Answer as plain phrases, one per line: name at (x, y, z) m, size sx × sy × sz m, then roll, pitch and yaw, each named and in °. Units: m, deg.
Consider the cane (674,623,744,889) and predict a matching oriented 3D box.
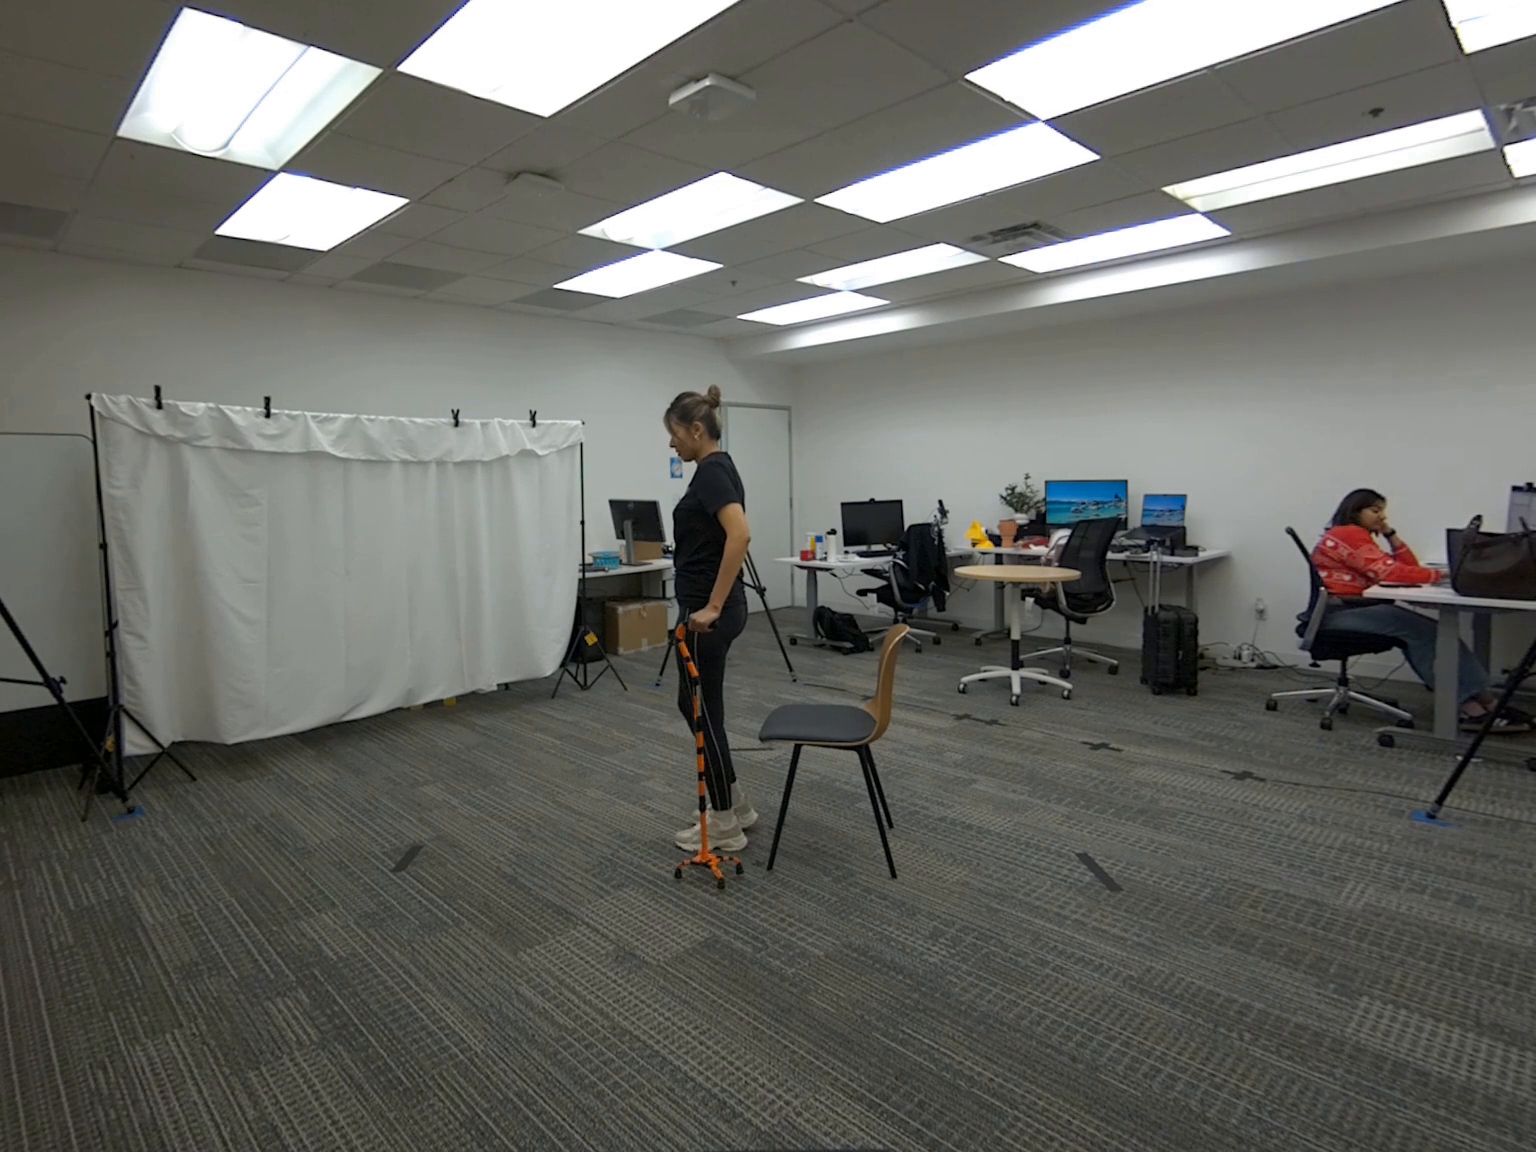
cane at (-0.229, 0.604, 2.956) m, size 0.212 × 0.904 × 0.148 m, roll 1°, pitch 5°, yaw 32°
